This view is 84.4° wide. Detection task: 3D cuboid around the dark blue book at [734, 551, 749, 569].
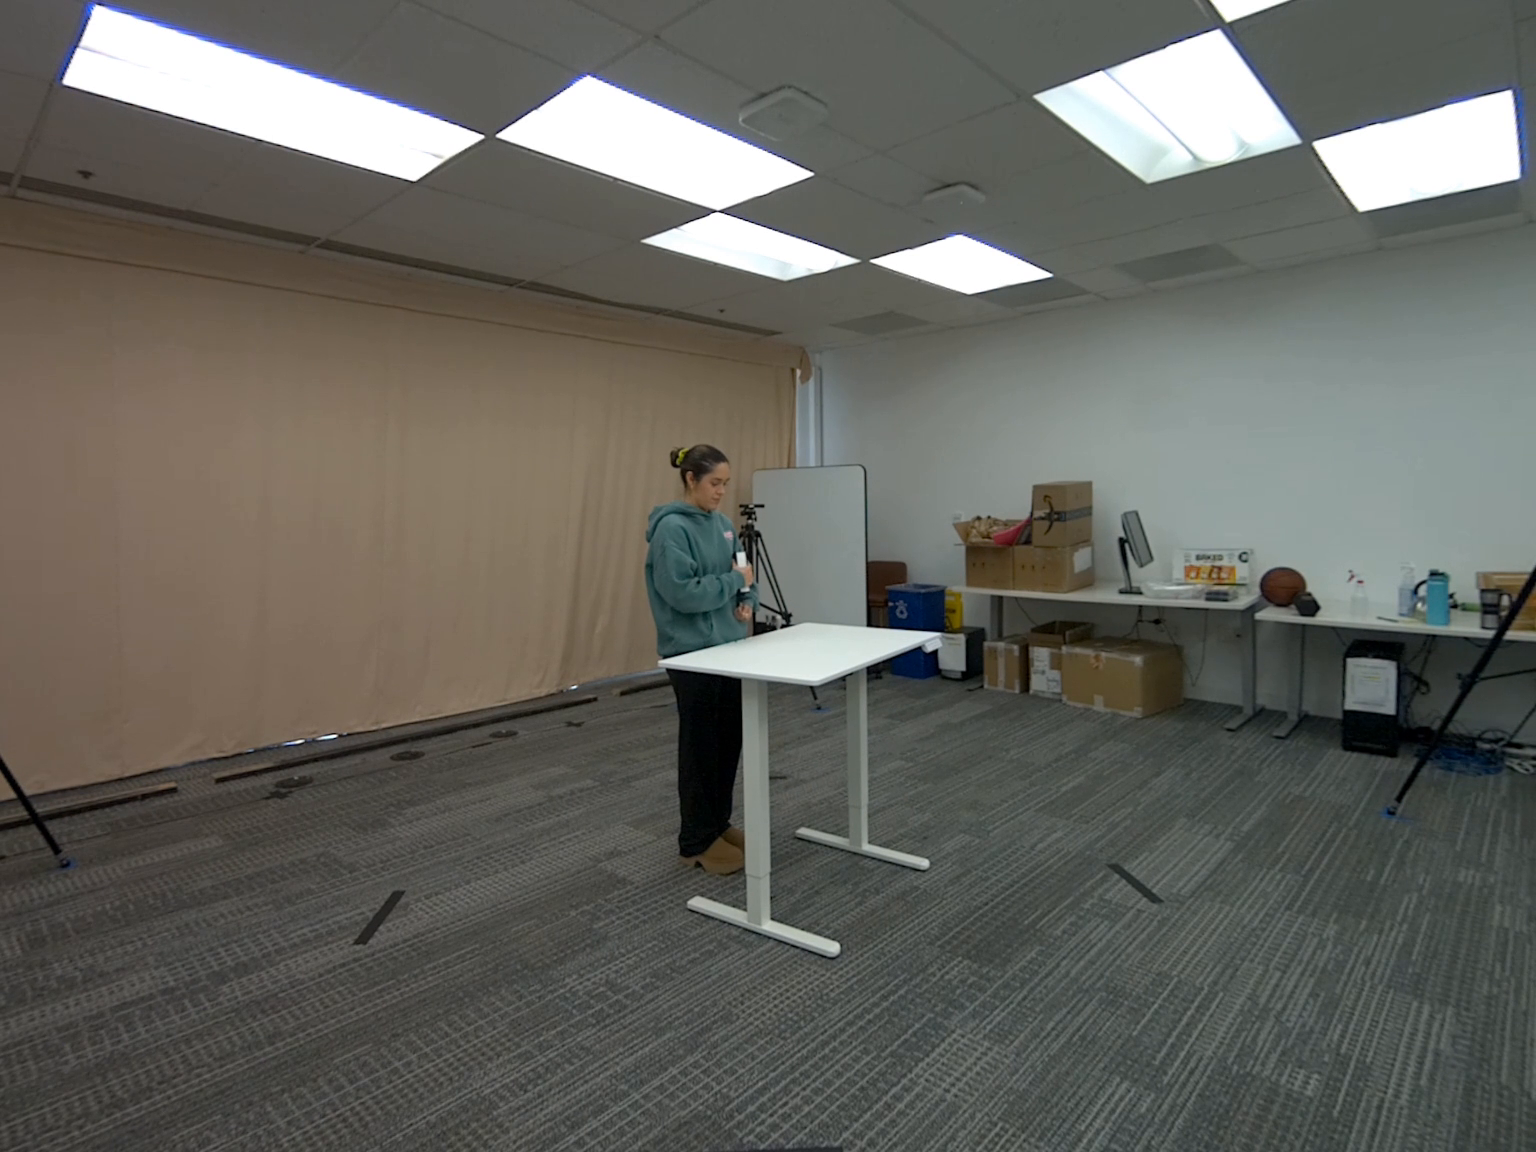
[{"bbox_3d":[-0.130,-0.004,3.332,0.045,0.164,0.246,5,-11,-11],"label":"dark blue book"}]
